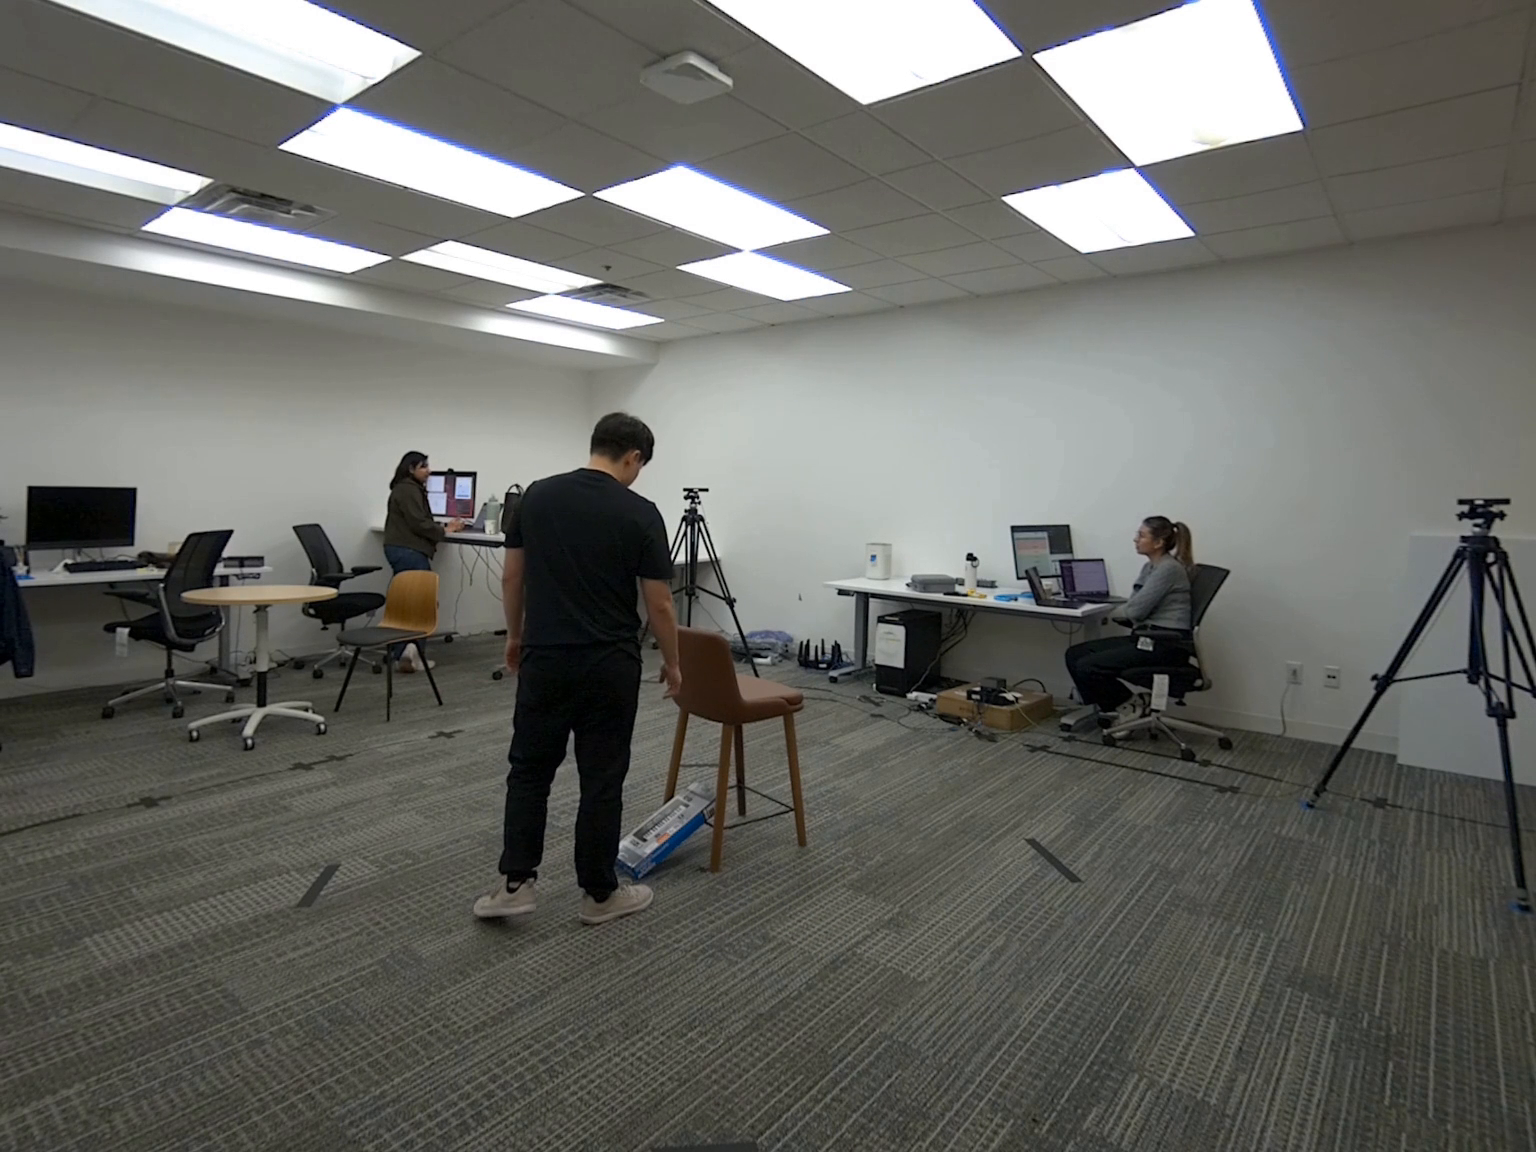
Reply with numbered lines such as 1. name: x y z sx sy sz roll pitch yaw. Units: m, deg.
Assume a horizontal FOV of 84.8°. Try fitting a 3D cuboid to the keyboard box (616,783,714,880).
1. keyboard box: -0.383 0.946 3.175 0.432 0.058 0.182 -34 25 -33
